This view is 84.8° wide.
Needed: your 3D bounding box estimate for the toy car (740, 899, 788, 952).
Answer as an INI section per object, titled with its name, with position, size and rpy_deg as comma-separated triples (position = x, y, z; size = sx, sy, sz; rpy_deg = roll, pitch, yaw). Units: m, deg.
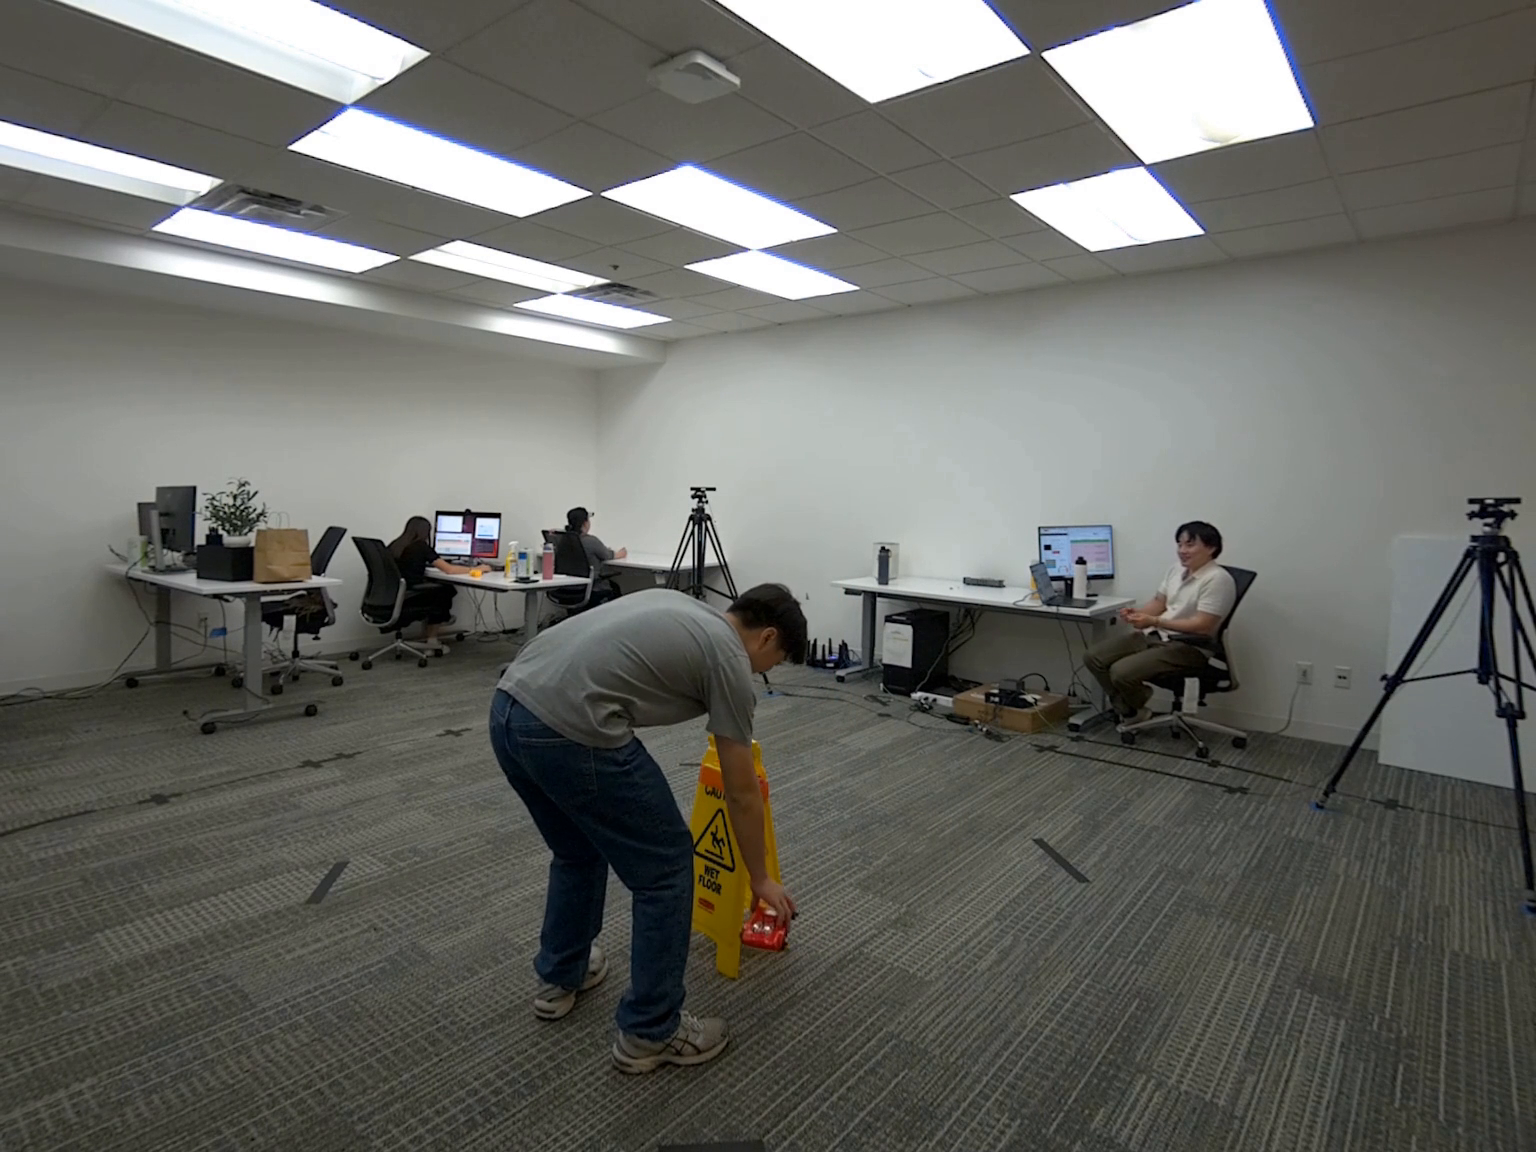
[toy car]
position = -0.009, 0.918, 2.231
size = 0.132, 0.083, 0.250
rpy_deg = 2, -2, 13
